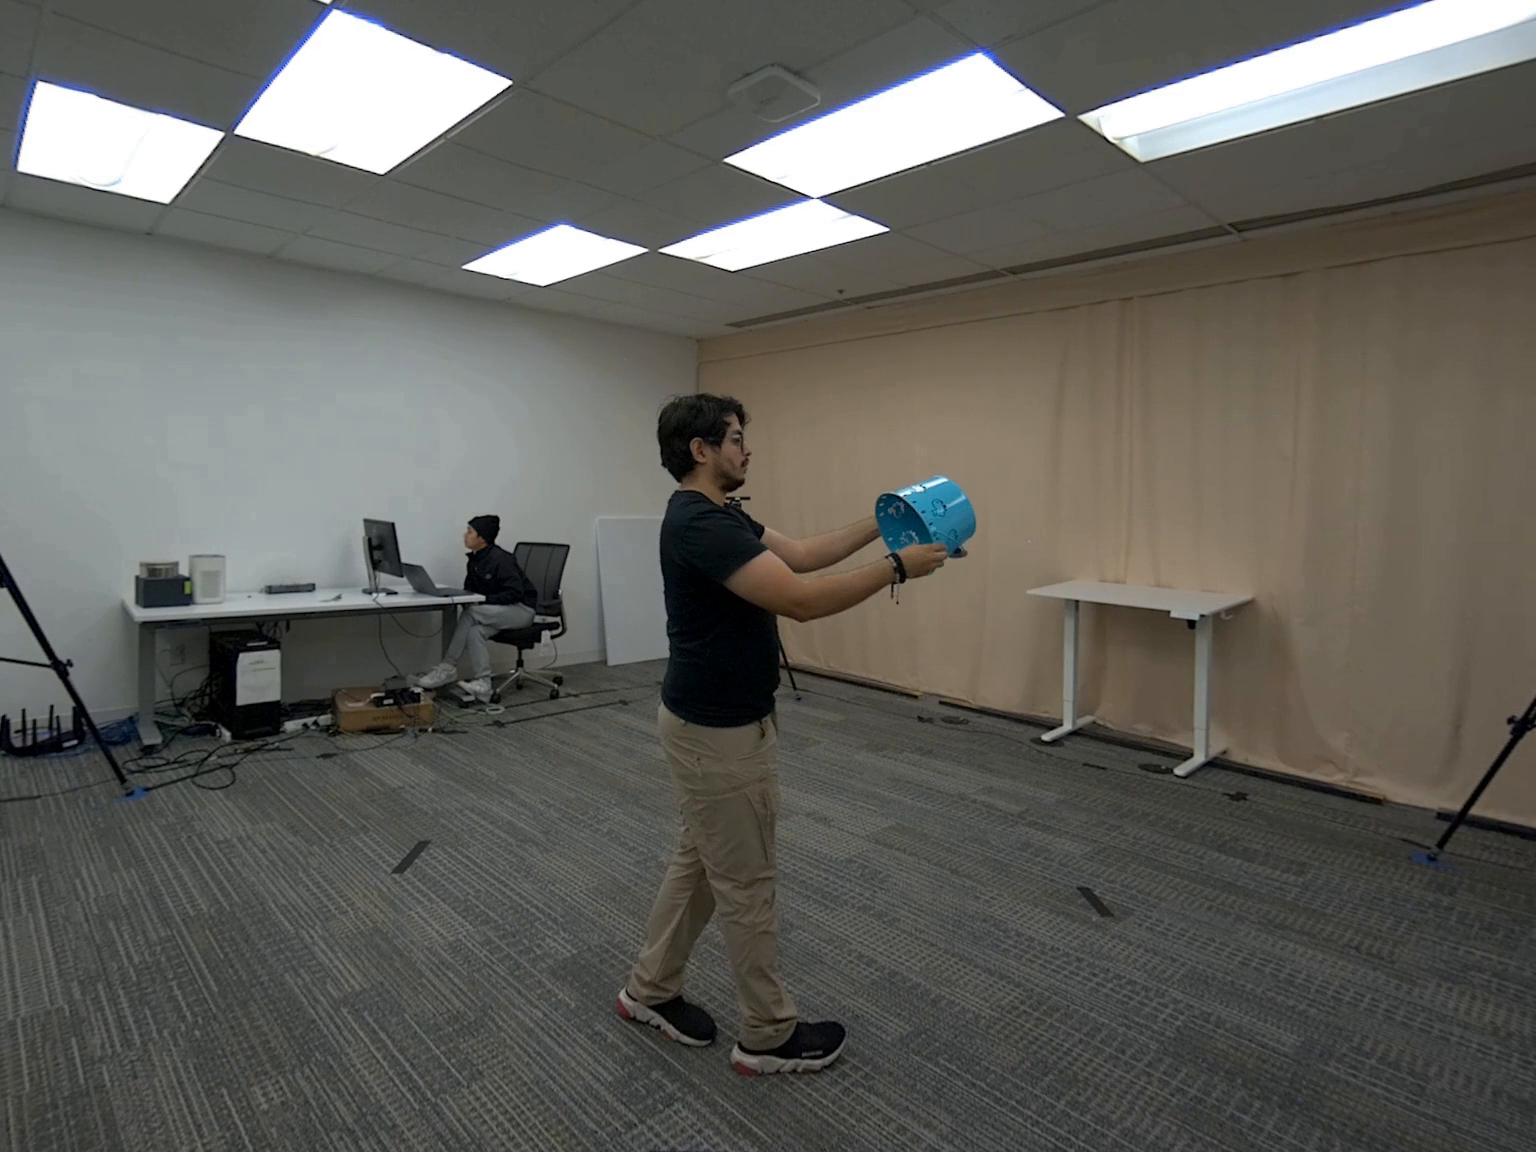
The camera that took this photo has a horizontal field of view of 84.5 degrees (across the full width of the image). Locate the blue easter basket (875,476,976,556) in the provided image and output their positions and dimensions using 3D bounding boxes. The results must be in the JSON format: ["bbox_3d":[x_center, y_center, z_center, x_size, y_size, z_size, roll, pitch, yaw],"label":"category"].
[{"bbox_3d":[0.406,-0.138,2.114,0.155,0.240,0.249,-28,16,-21],"label":"blue easter basket"}]
